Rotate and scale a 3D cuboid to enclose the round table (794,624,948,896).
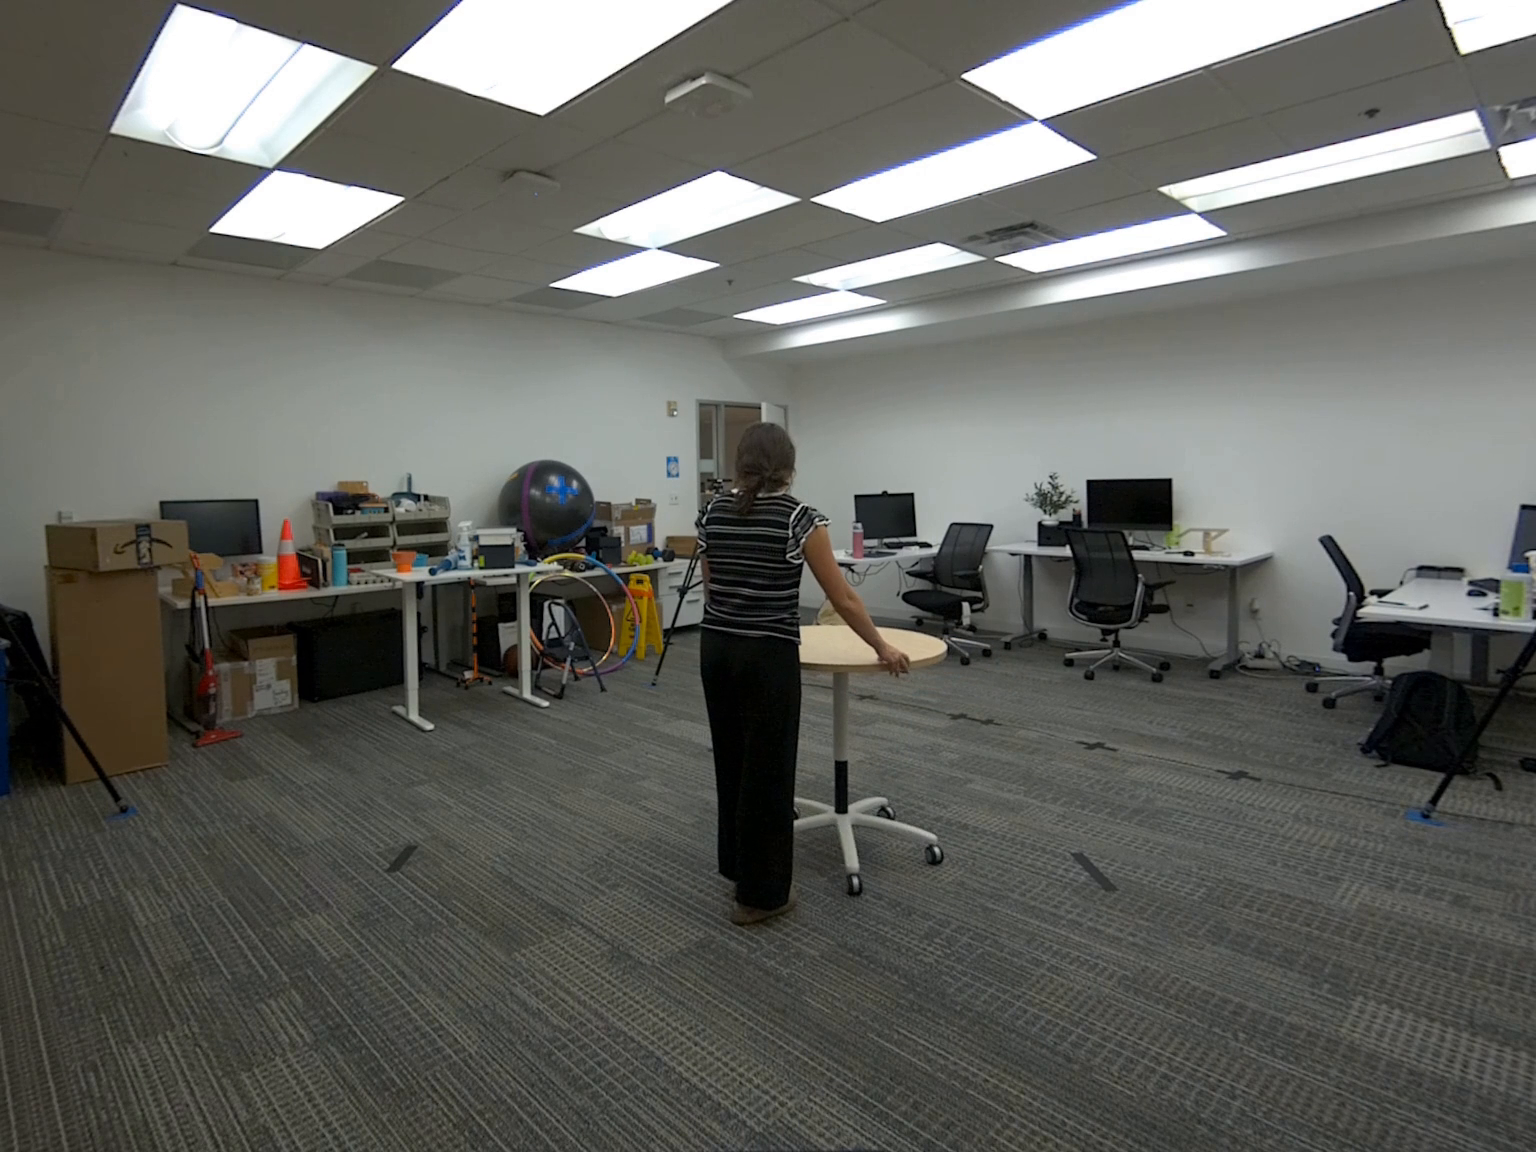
[{"bbox_3d":[0.290,0.634,3.203,0.784,0.783,0.789,-1,5,-2],"label":"round table"}]
